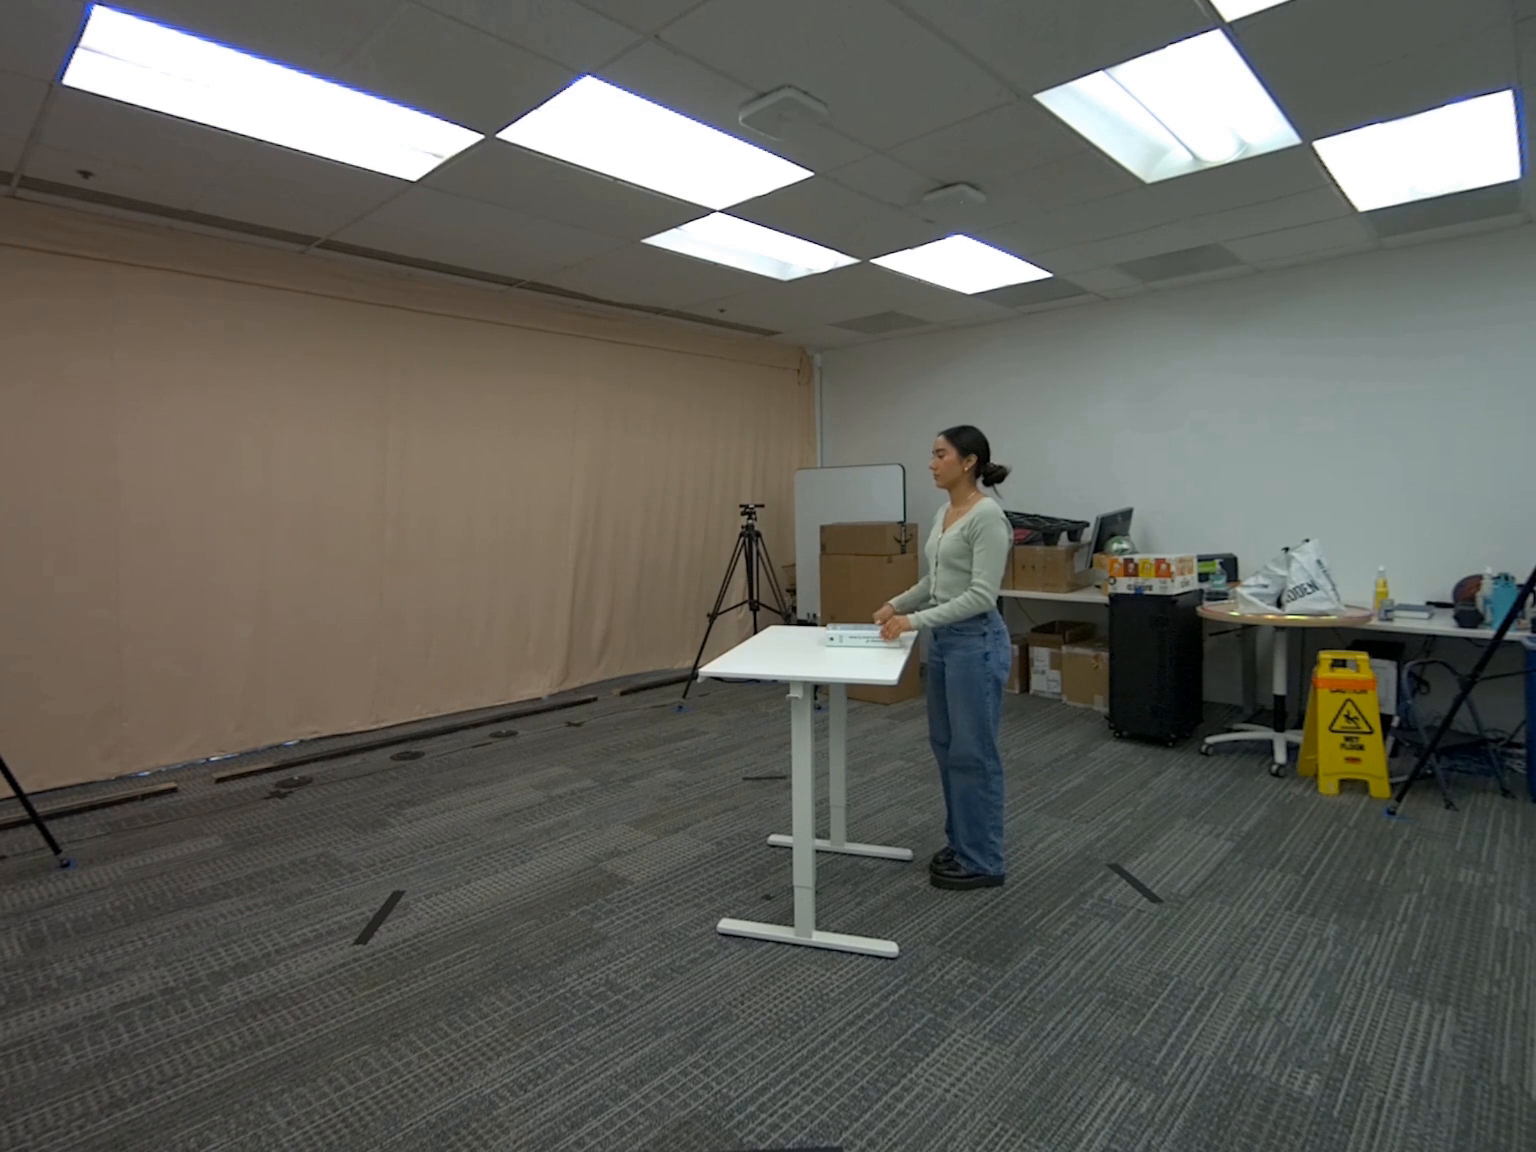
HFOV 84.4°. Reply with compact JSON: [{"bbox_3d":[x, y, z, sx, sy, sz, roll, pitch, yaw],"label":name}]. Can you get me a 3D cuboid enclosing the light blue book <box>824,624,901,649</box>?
[{"bbox_3d":[0.344,0.219,3.077,0.263,0.059,0.190,1,4,7],"label":"light blue book"}]
